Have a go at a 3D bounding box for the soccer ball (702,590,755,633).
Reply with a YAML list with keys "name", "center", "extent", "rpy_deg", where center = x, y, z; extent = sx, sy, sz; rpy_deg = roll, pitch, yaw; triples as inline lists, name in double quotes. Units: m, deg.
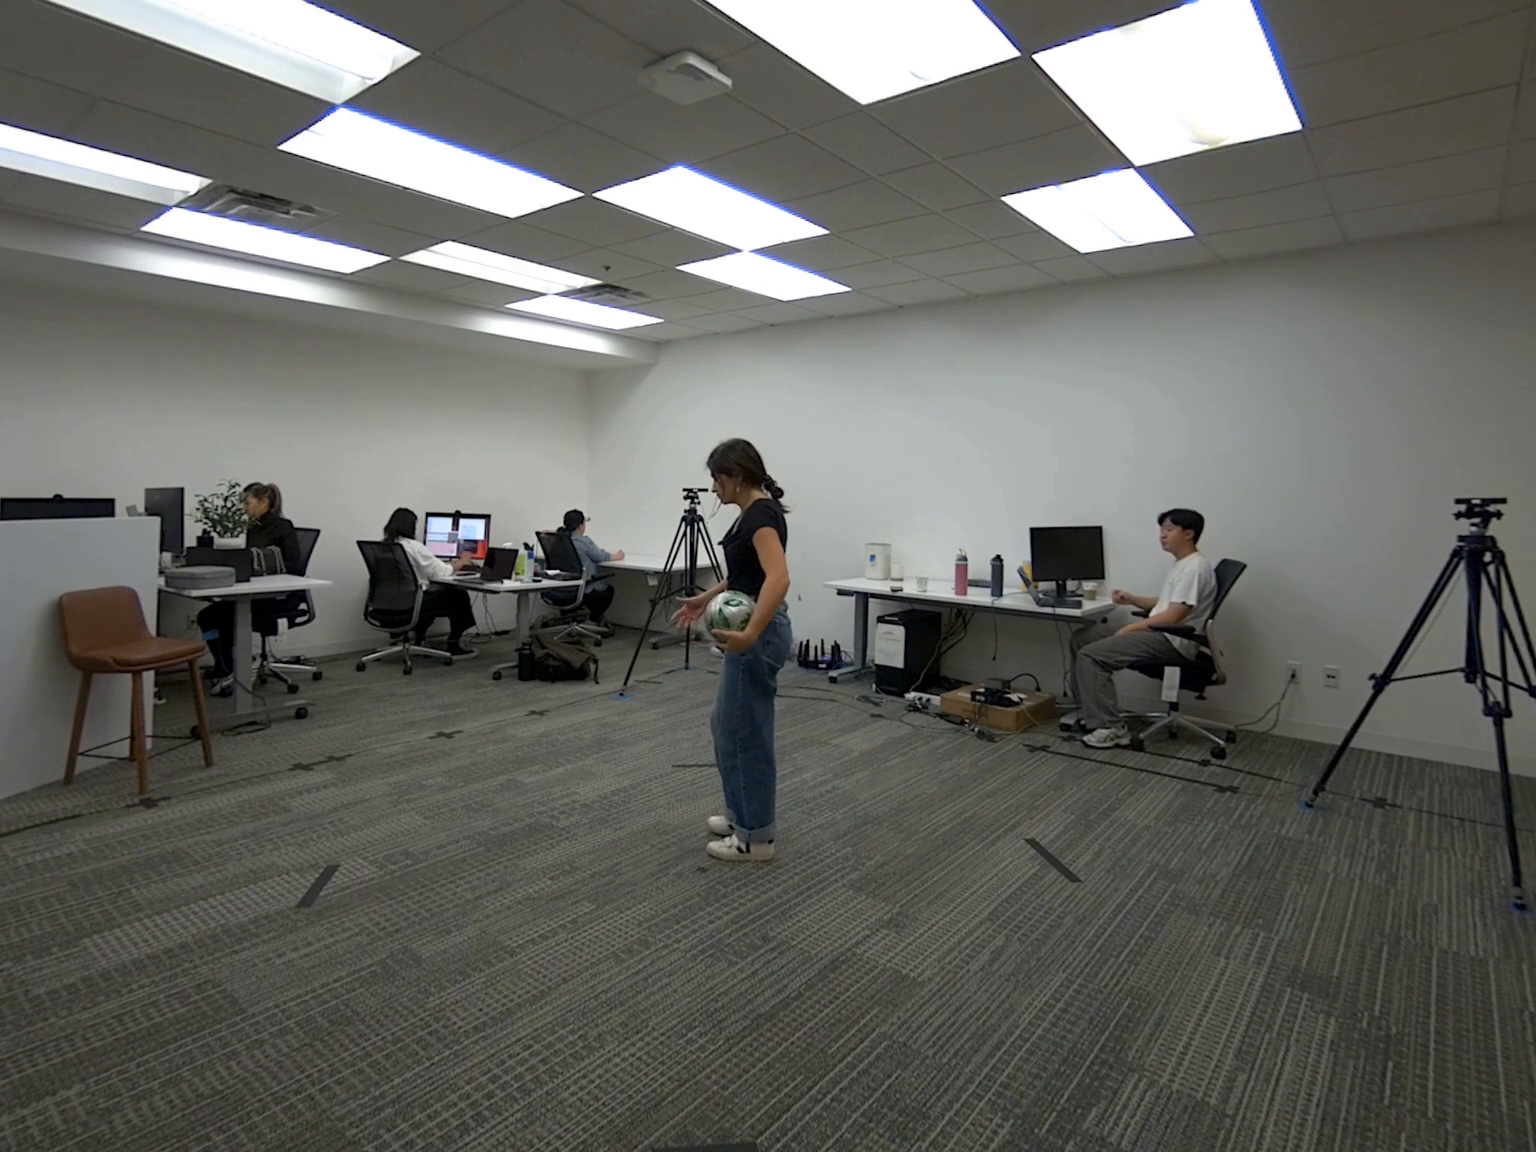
- name: "soccer ball"
  center: [-0.127, 0.137, 2.913]
  extent: [0.187, 0.187, 0.188]
  rpy_deg: [1, 4, -2]
